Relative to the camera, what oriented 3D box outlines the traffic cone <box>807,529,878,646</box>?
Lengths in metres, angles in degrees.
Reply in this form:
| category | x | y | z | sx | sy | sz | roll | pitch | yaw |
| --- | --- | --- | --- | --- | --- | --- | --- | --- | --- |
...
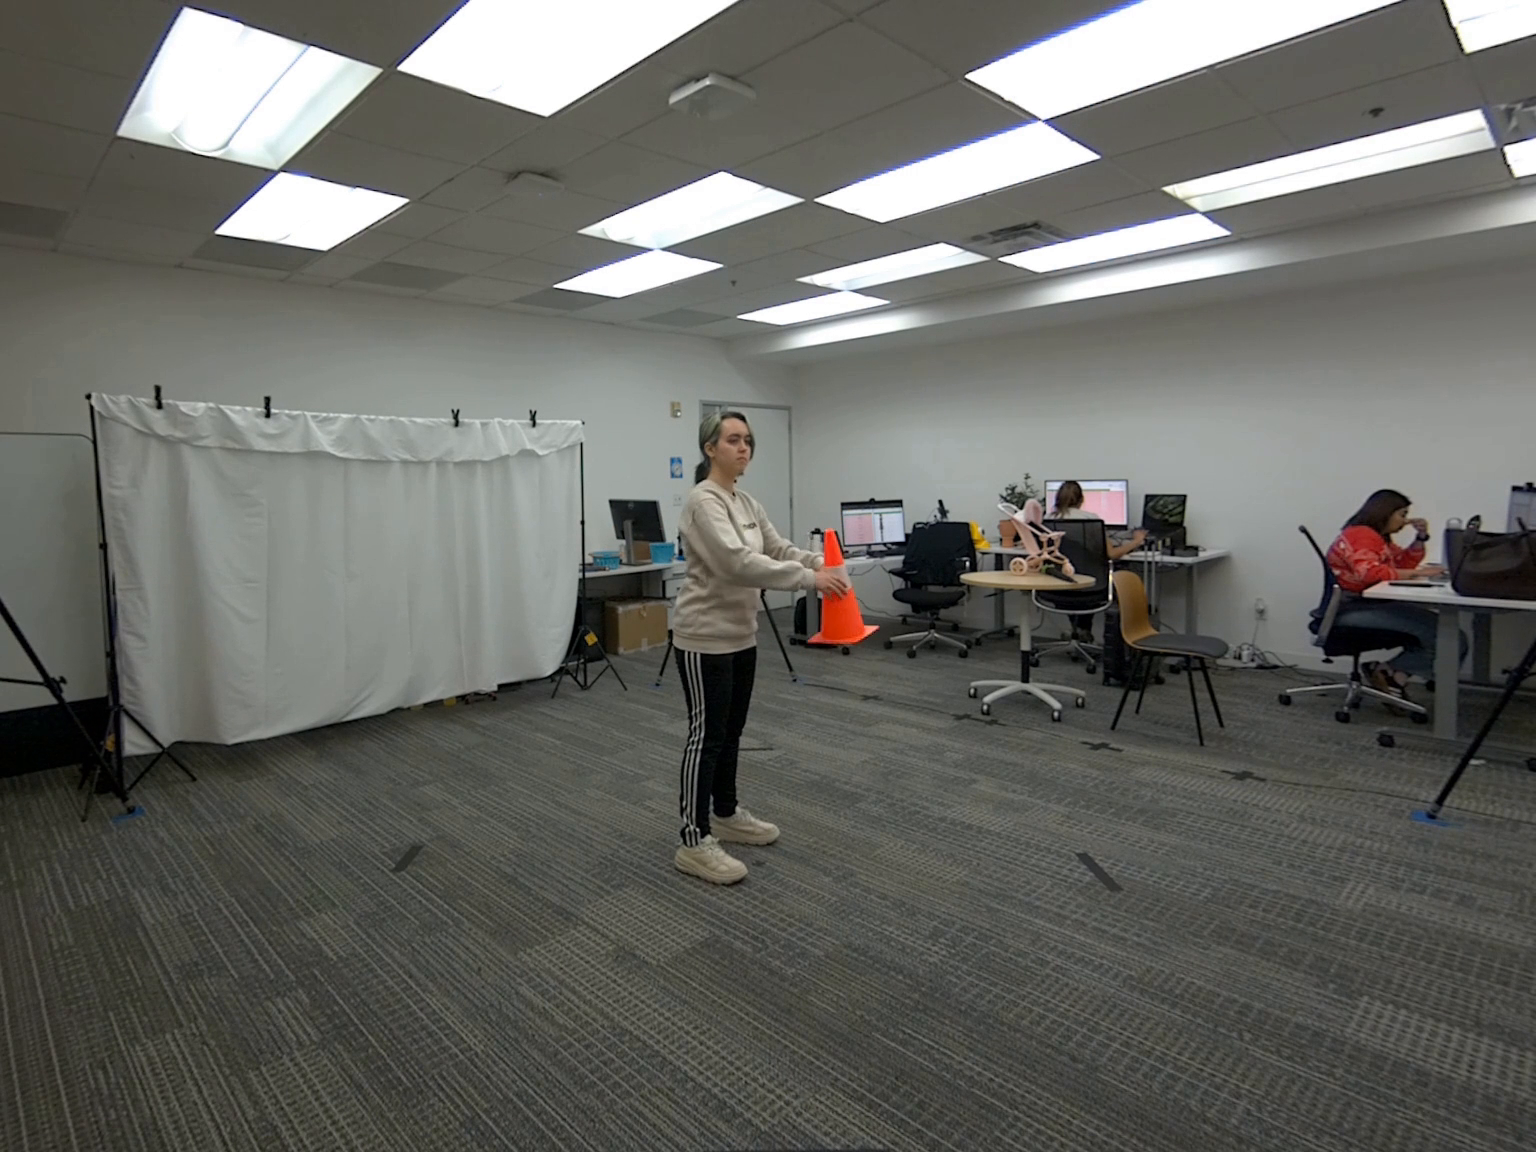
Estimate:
| category | x | y | z | sx | sy | sz | roll | pitch | yaw |
| --- | --- | --- | --- | --- | --- | --- | --- | --- | --- |
| traffic cone | 0.227 | 0.020 | 3.026 | 0.209 | 0.380 | 0.201 | -2 | 10 | 39 |
